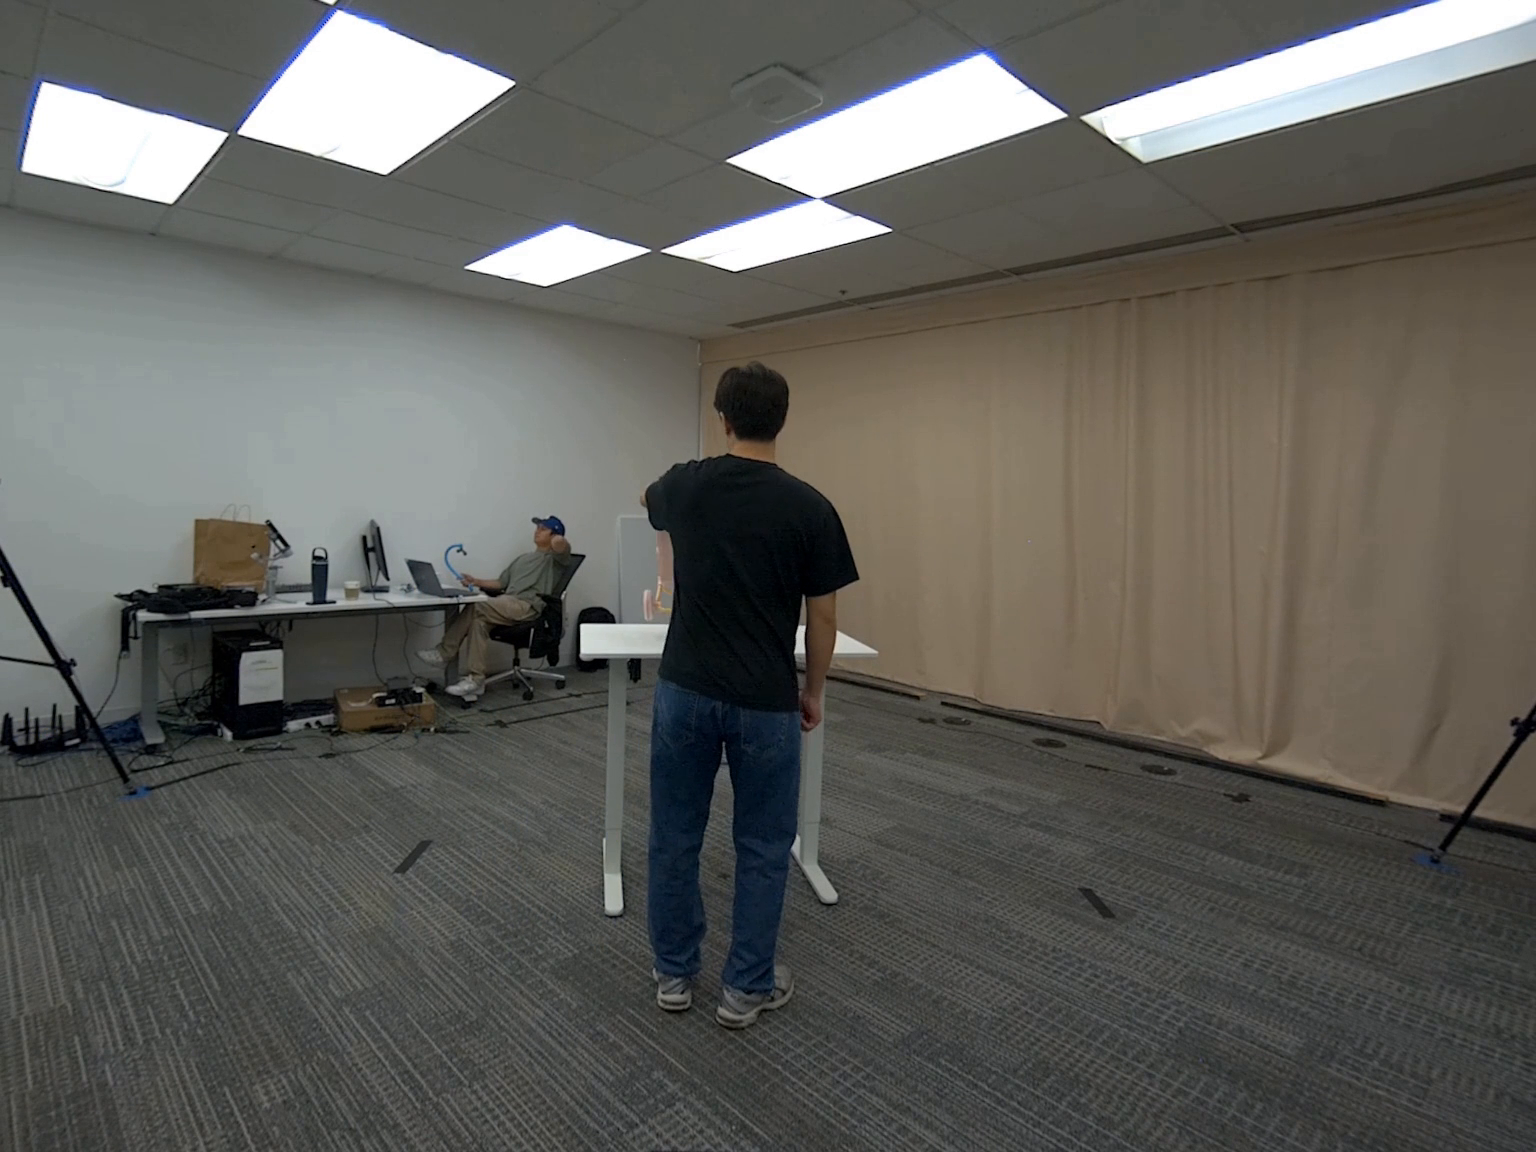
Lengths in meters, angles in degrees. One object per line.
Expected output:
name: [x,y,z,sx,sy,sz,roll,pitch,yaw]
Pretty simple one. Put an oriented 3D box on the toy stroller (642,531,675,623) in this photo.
toy stroller: [-0.314,-0.071,3.084,0.282,0.530,0.343,1,12,4]
